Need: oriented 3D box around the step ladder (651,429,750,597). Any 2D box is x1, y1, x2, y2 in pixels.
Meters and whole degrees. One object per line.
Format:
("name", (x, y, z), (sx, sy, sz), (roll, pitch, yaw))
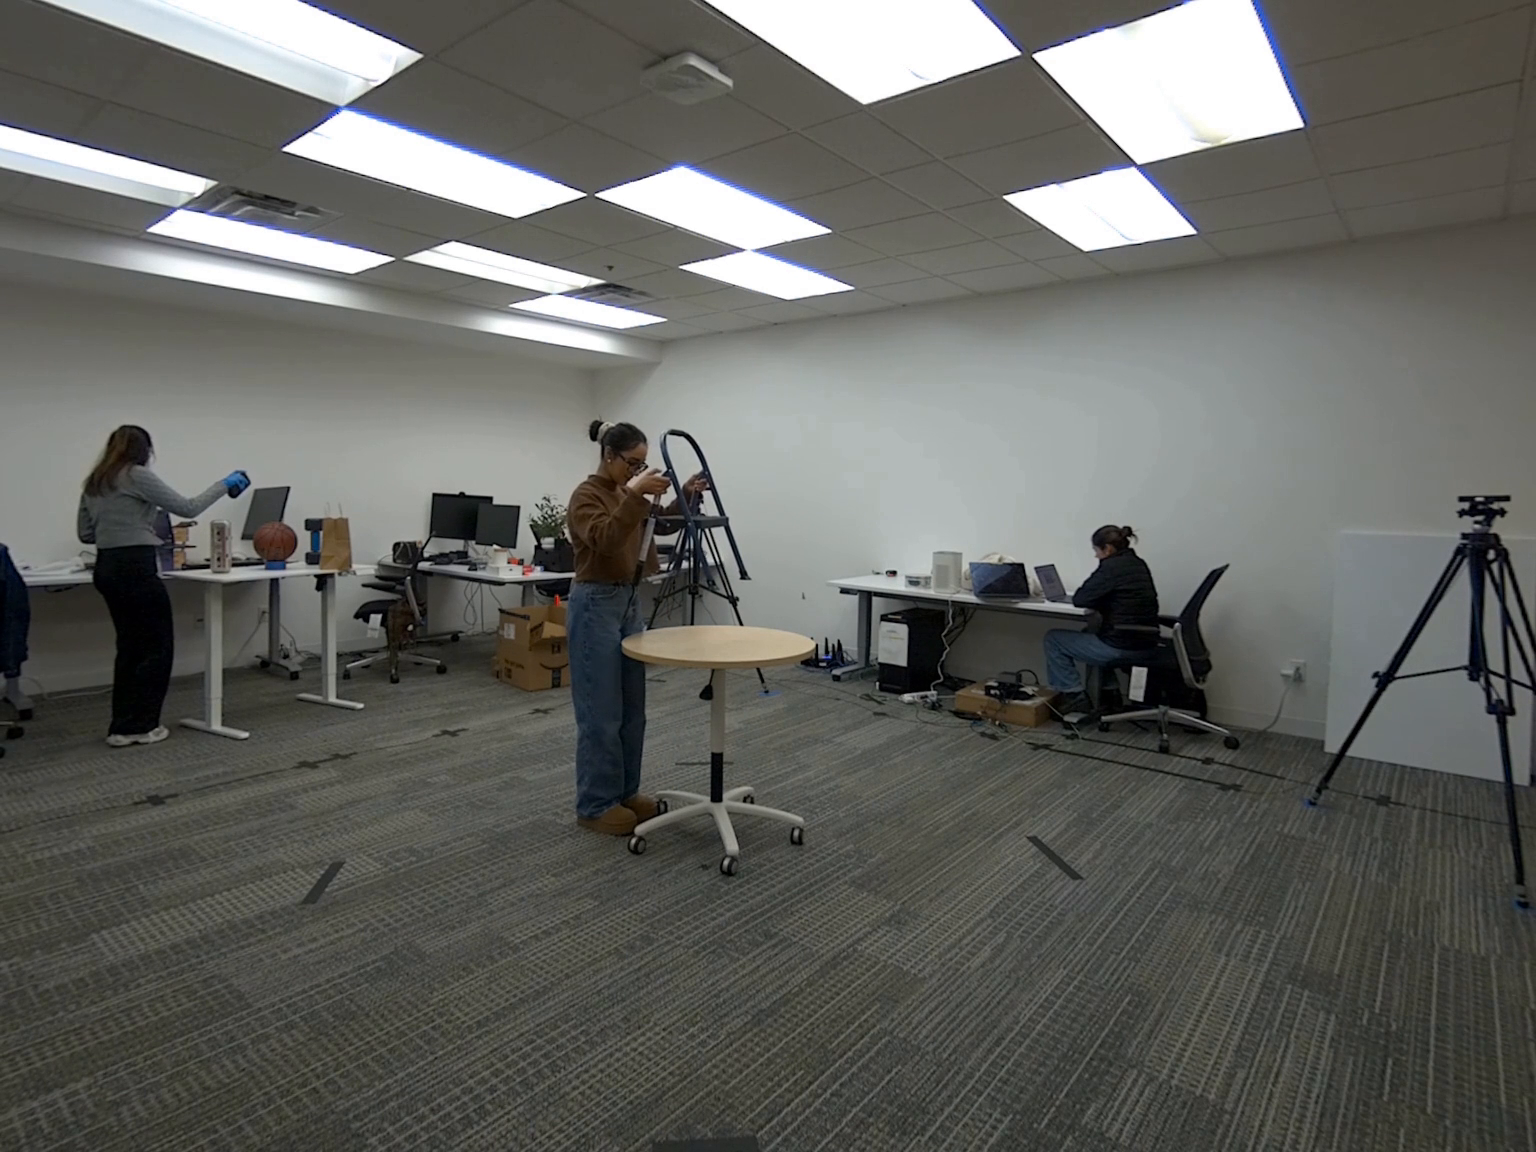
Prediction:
("step ladder", (-0.324, -0.280, 3.370), (0.356, 0.604, 0.424), (0, 4, 18))
